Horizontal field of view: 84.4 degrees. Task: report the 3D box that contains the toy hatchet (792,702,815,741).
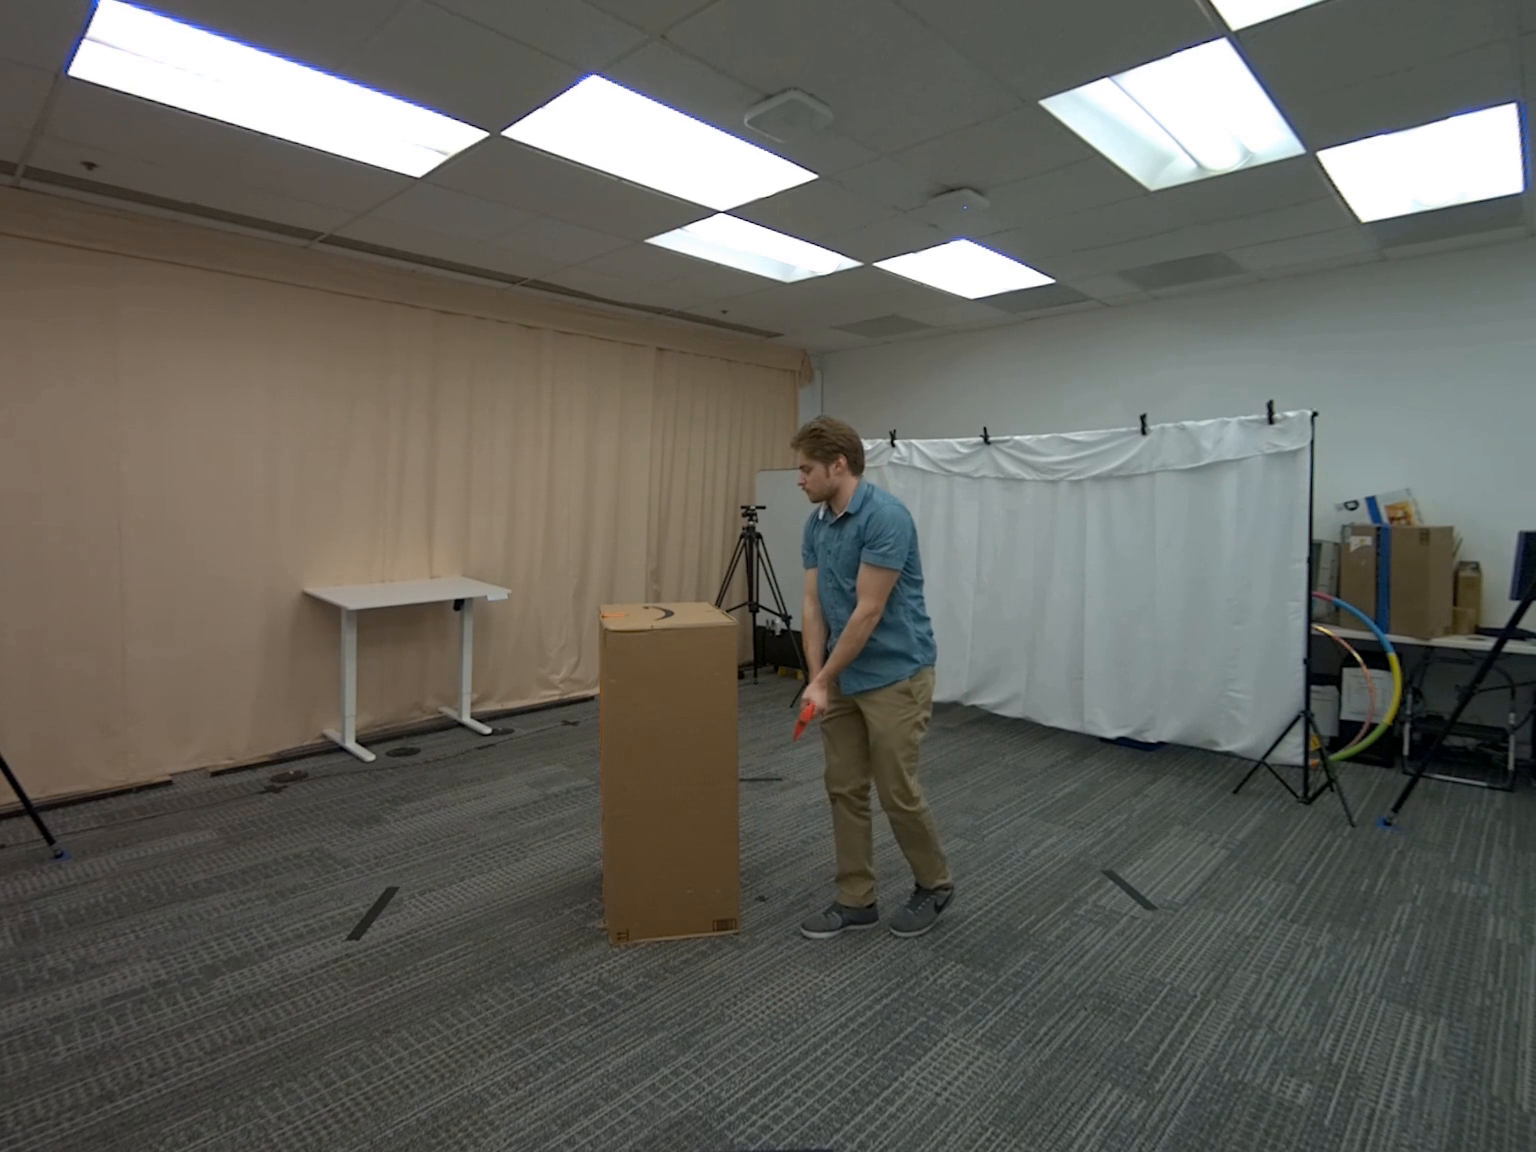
[{"bbox_3d":[0.104,0.431,2.580,0.029,0.131,0.270,29,-10,-3],"label":"toy hatchet"}]
